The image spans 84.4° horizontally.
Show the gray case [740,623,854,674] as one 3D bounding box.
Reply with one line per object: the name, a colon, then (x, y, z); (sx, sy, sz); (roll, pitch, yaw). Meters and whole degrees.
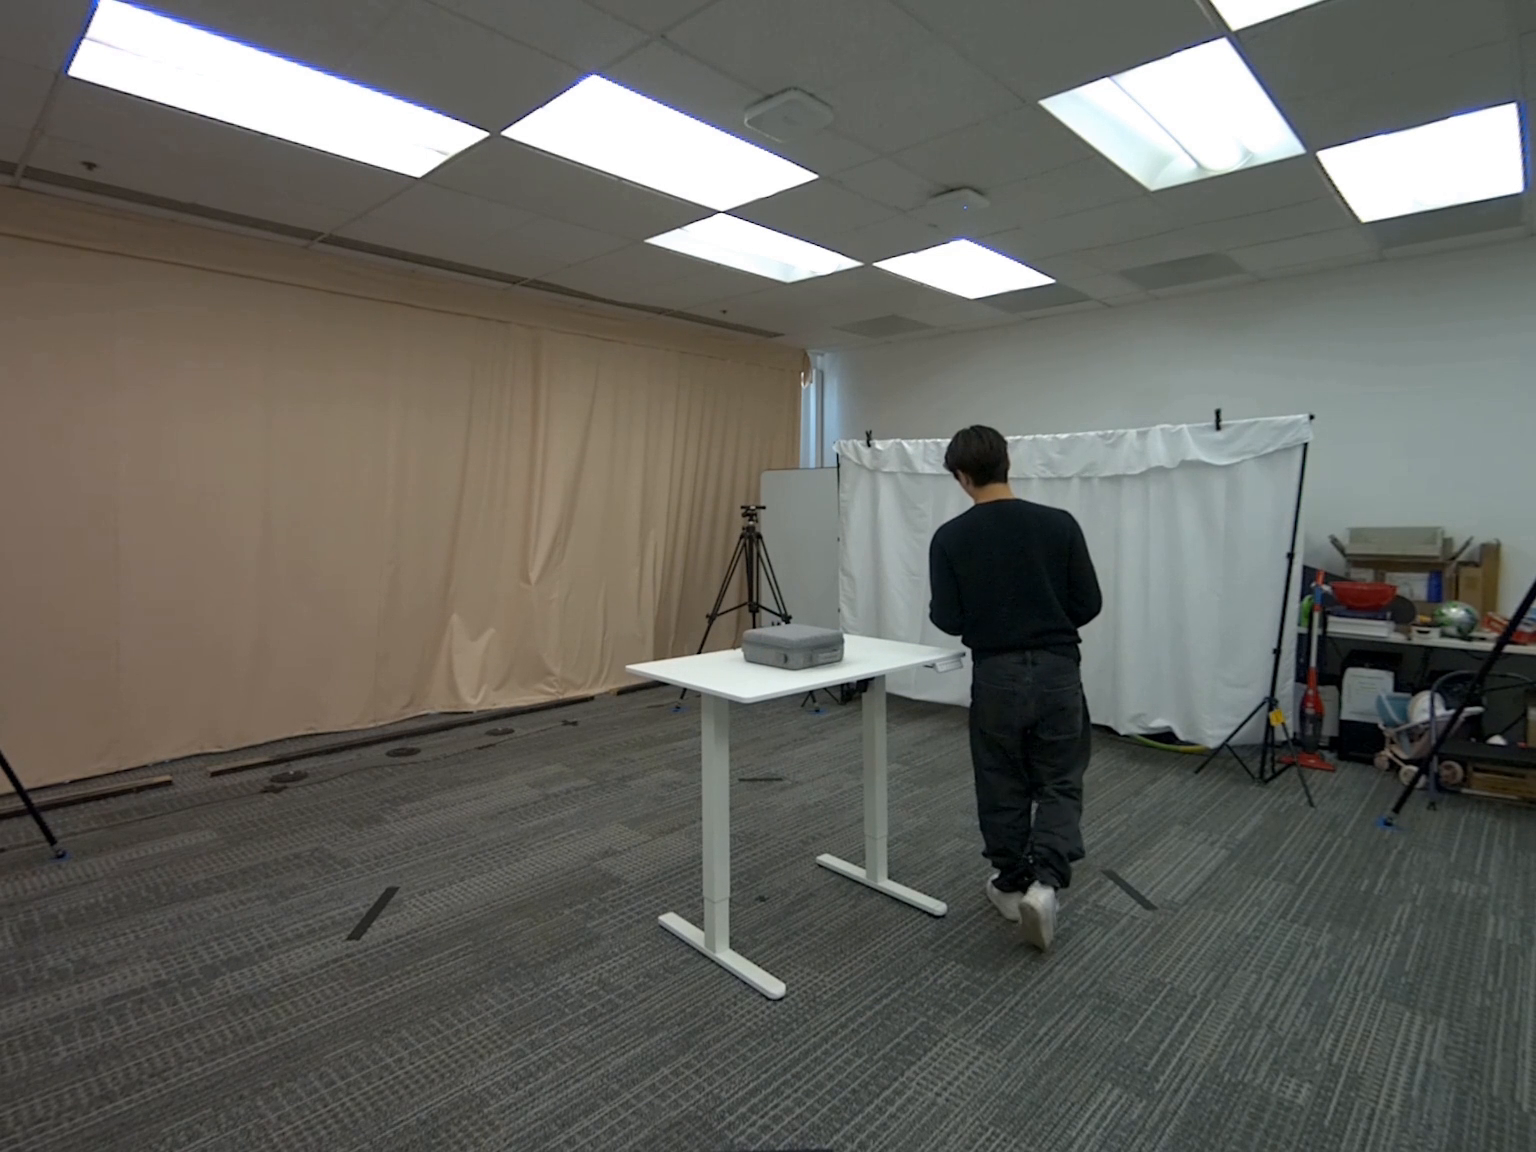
gray case: (0.091, 0.229, 2.755); (0.249, 0.104, 0.269); (-4, 6, -44)
